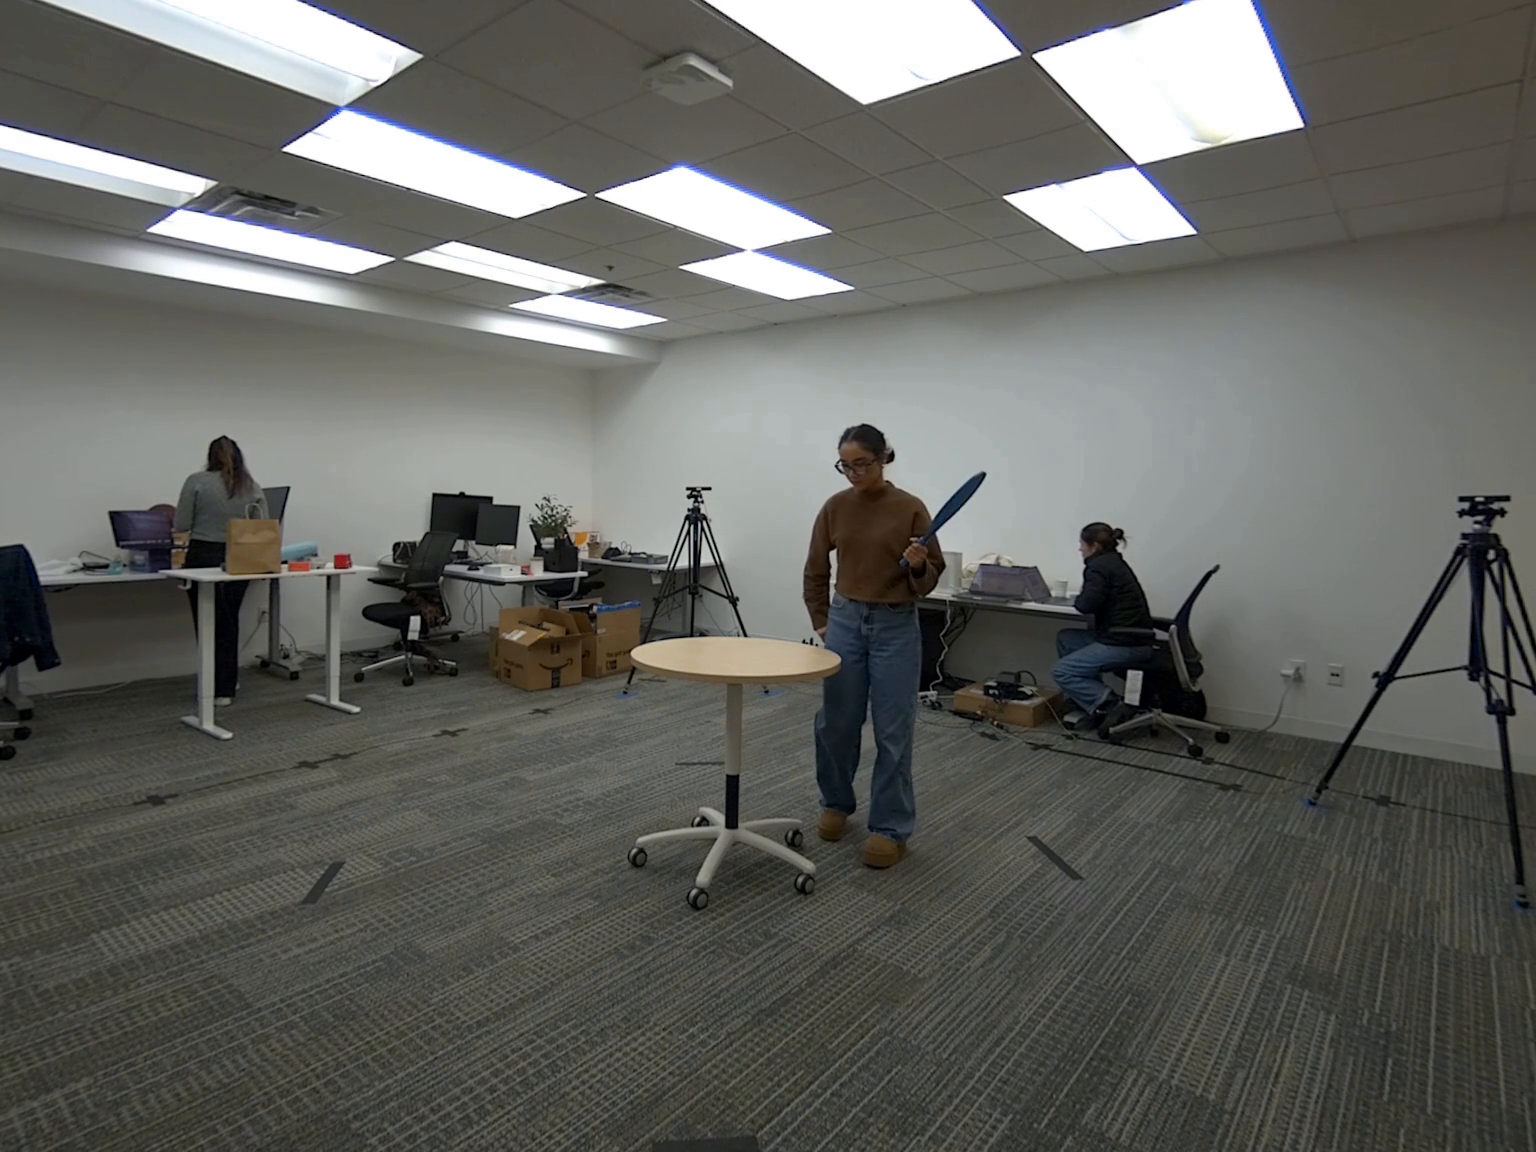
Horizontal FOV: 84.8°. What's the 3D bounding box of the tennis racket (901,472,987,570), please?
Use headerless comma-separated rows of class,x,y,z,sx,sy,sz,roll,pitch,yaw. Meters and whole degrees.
tennis racket,0.569,-0.192,2.905,0.032,0.431,0.209,46,29,17
